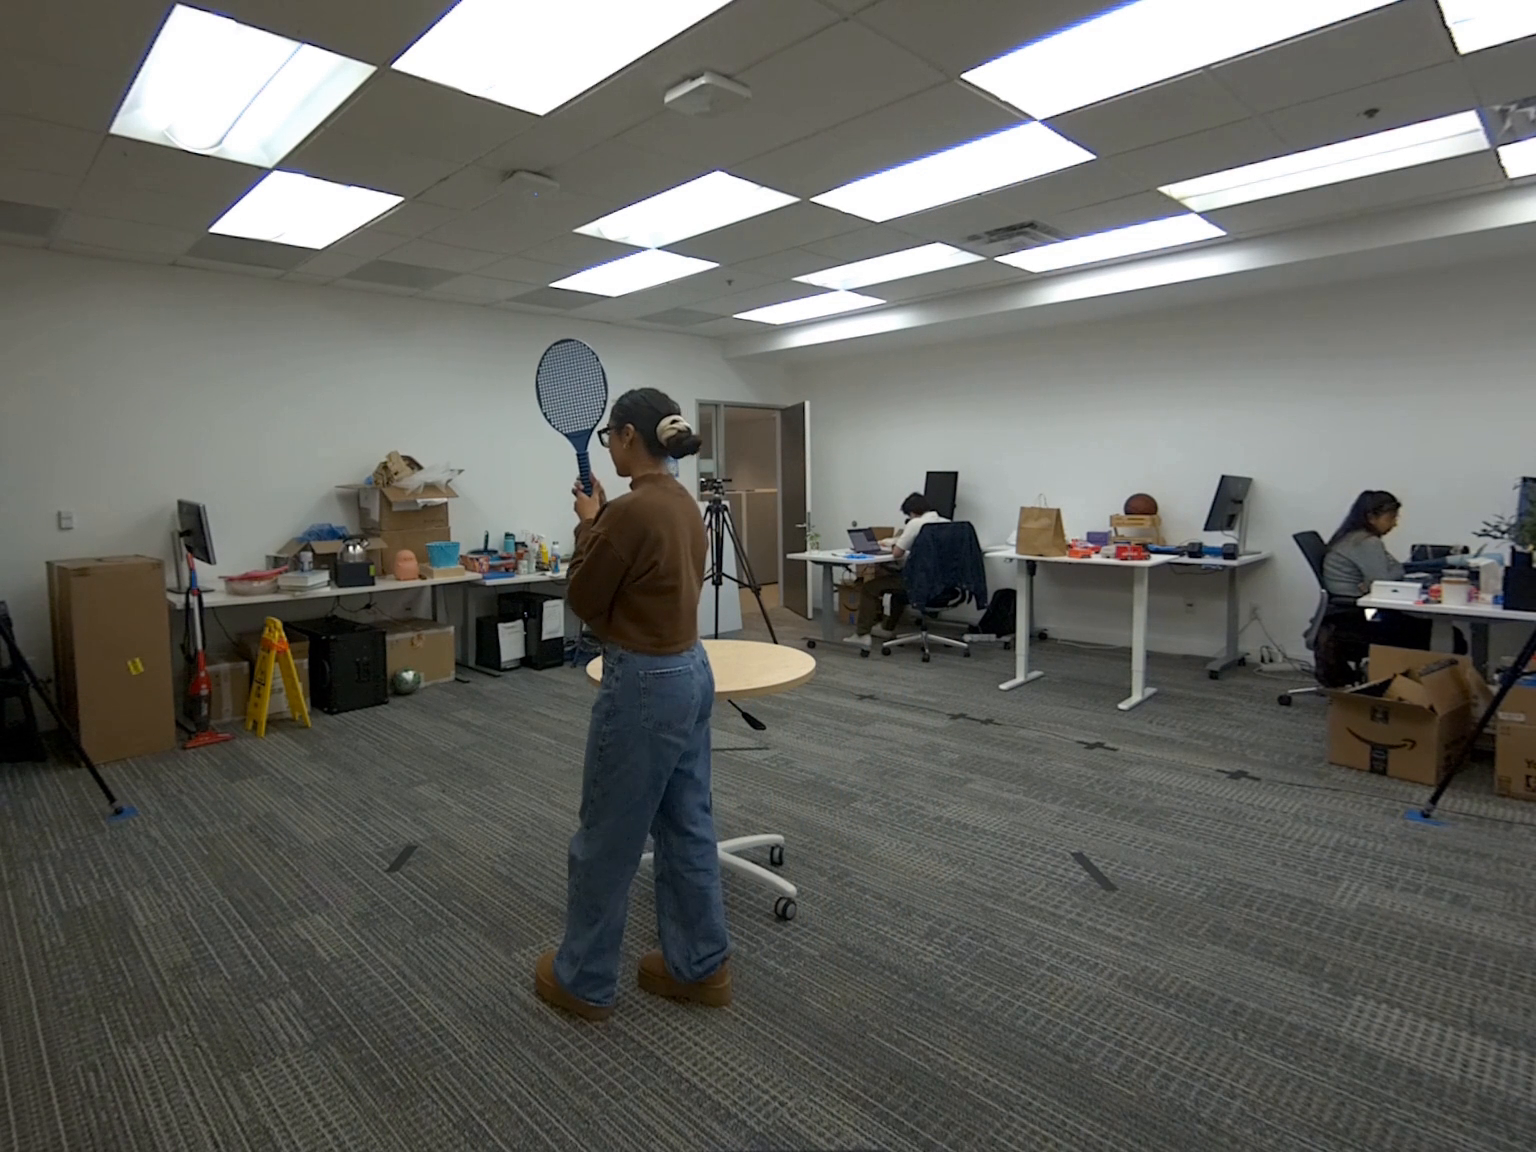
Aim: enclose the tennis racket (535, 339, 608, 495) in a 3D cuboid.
[{"bbox_3d":[-0.513,-0.437,2.338,0.217,0.431,0.031,-5,4,18],"label":"tennis racket"}]
